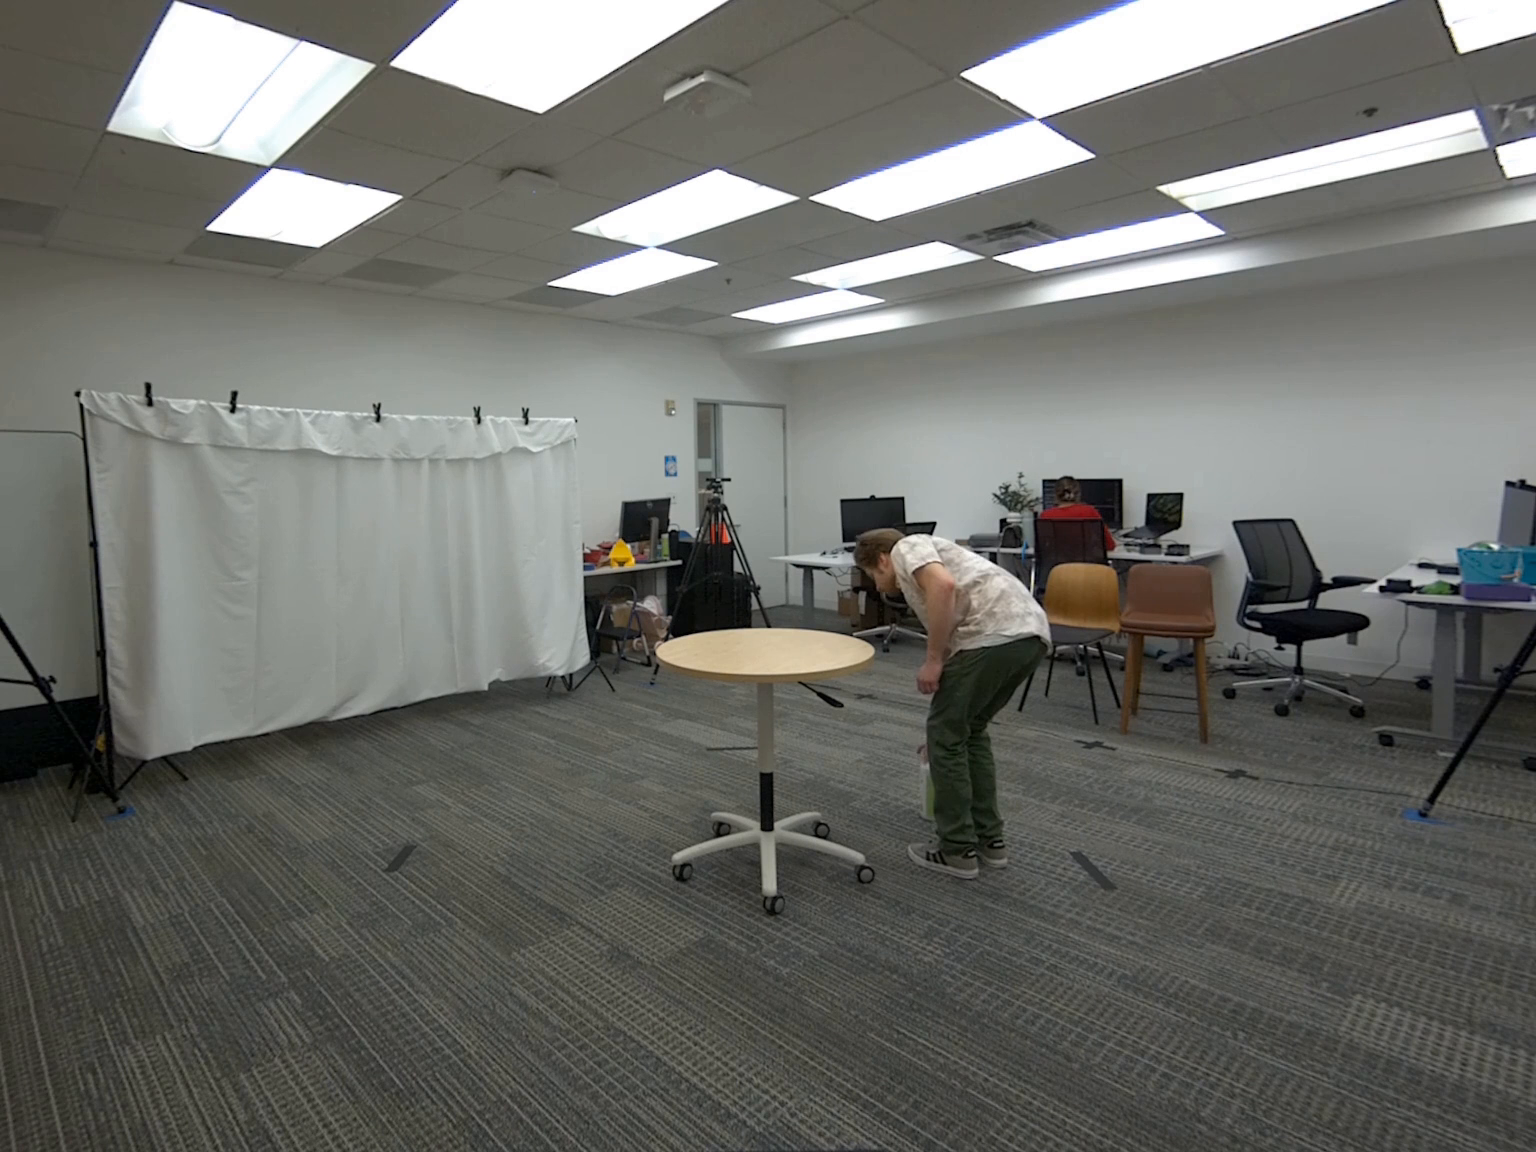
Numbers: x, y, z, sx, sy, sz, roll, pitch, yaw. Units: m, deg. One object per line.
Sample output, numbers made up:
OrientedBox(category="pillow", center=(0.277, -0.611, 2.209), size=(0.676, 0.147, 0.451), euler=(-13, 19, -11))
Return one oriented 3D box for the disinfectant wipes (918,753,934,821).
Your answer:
OrientedBox(category="disinfectant wipes", center=(0.687, 0.881, 3.494), size=(0.118, 0.217, 0.118), euler=(0, 3, -2))
